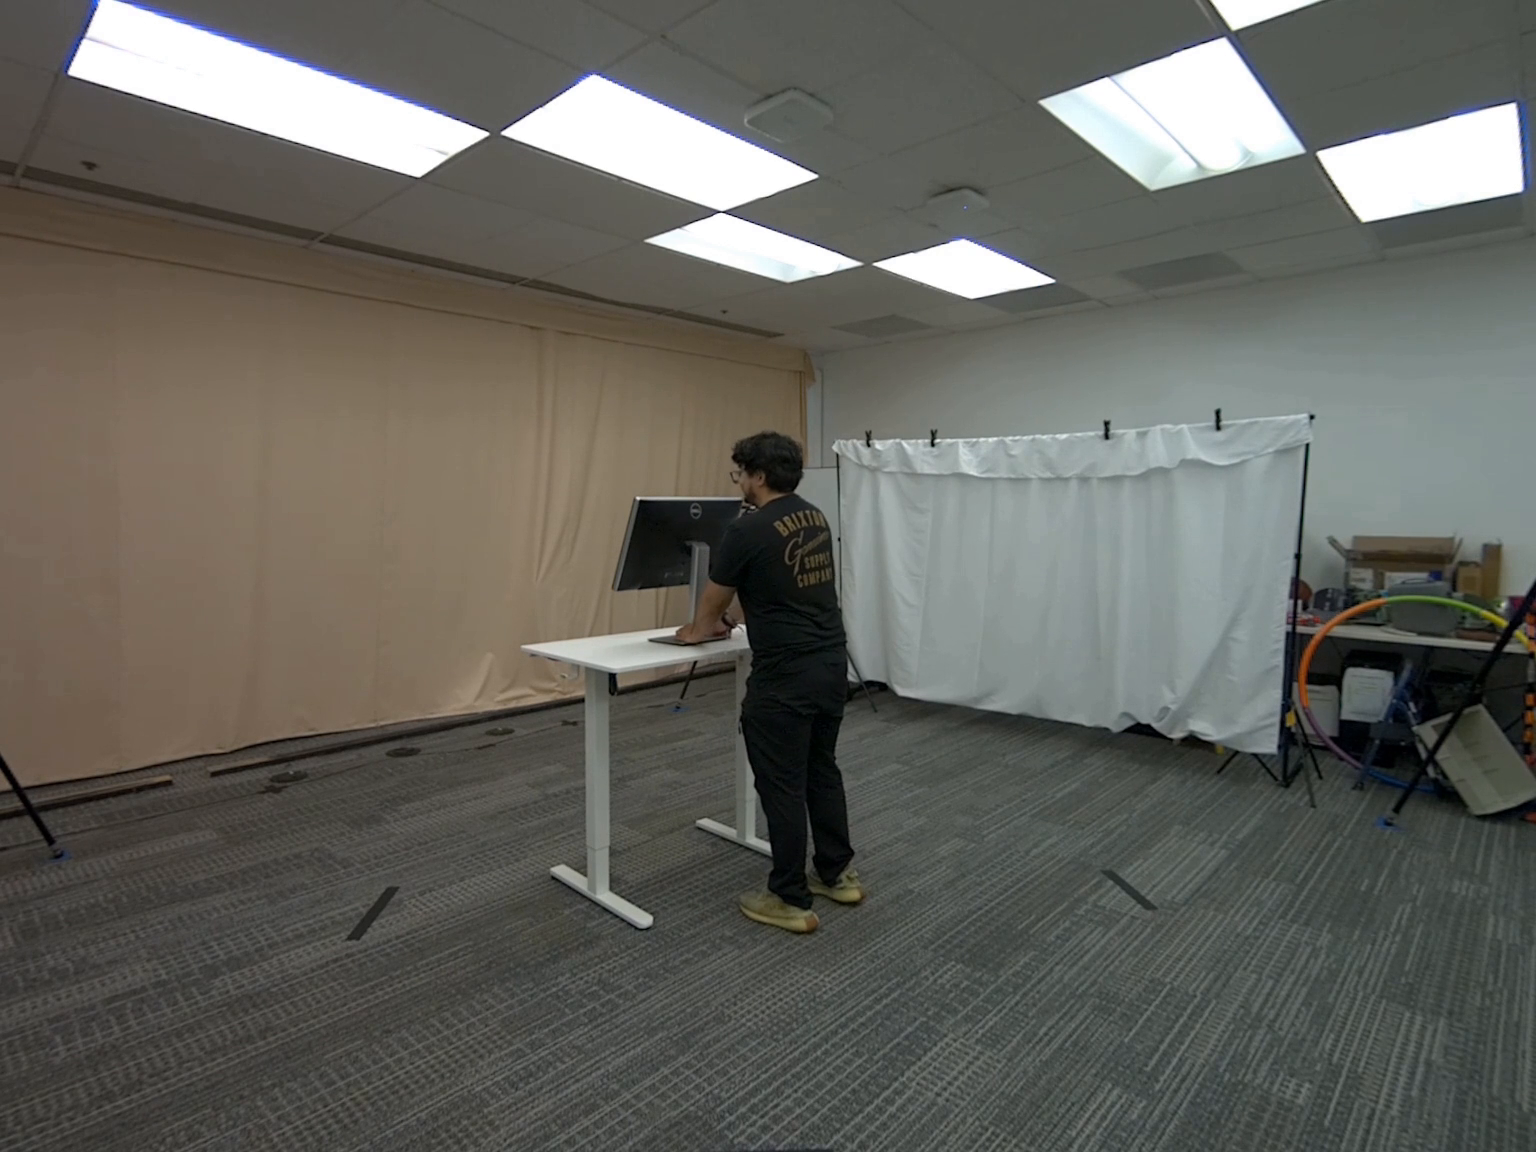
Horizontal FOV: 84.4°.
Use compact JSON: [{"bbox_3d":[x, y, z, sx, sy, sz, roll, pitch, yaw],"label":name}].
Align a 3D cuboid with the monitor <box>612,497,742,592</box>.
[{"bbox_3d":[-0.290,-0.022,3.172,0.218,0.551,0.548,18,15,38],"label":"monitor"}]
